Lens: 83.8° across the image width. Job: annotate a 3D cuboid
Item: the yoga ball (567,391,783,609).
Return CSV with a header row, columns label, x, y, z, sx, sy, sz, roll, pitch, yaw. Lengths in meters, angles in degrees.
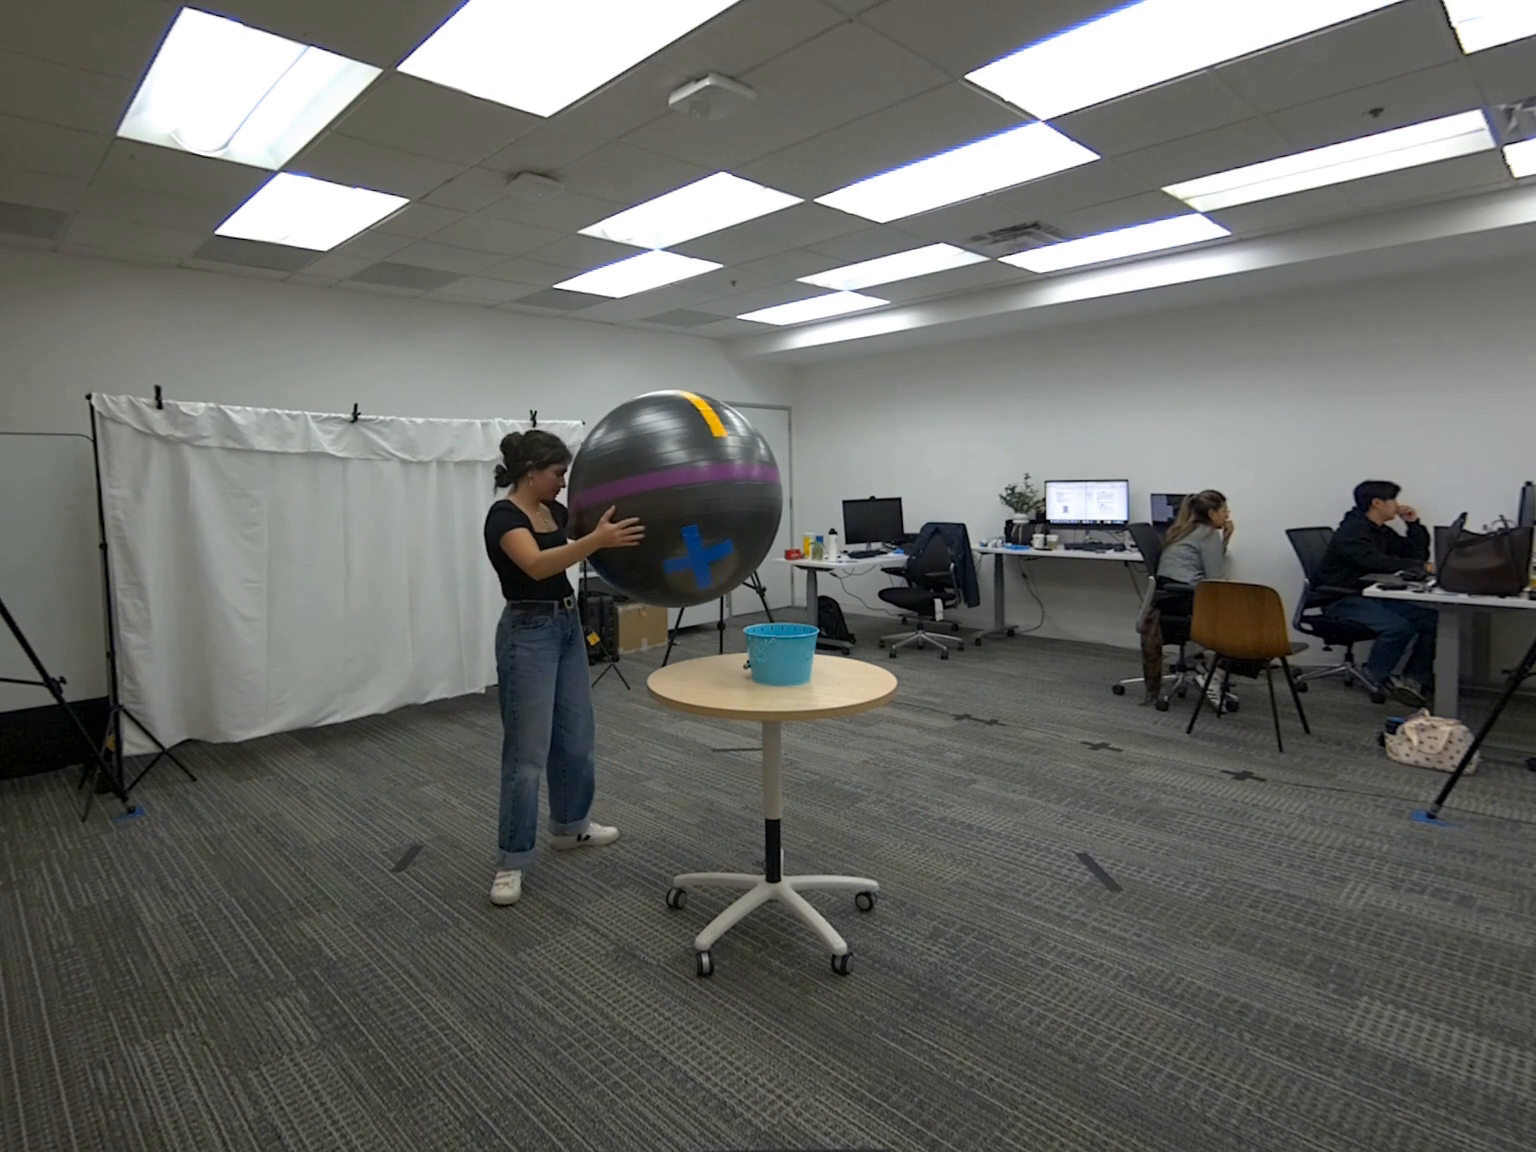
label,x,y,z,sx,sy,sz,roll,pitch,yaw
yoga ball,-0.338,-0.263,3.012,0.757,0.755,0.762,-1,5,-2
